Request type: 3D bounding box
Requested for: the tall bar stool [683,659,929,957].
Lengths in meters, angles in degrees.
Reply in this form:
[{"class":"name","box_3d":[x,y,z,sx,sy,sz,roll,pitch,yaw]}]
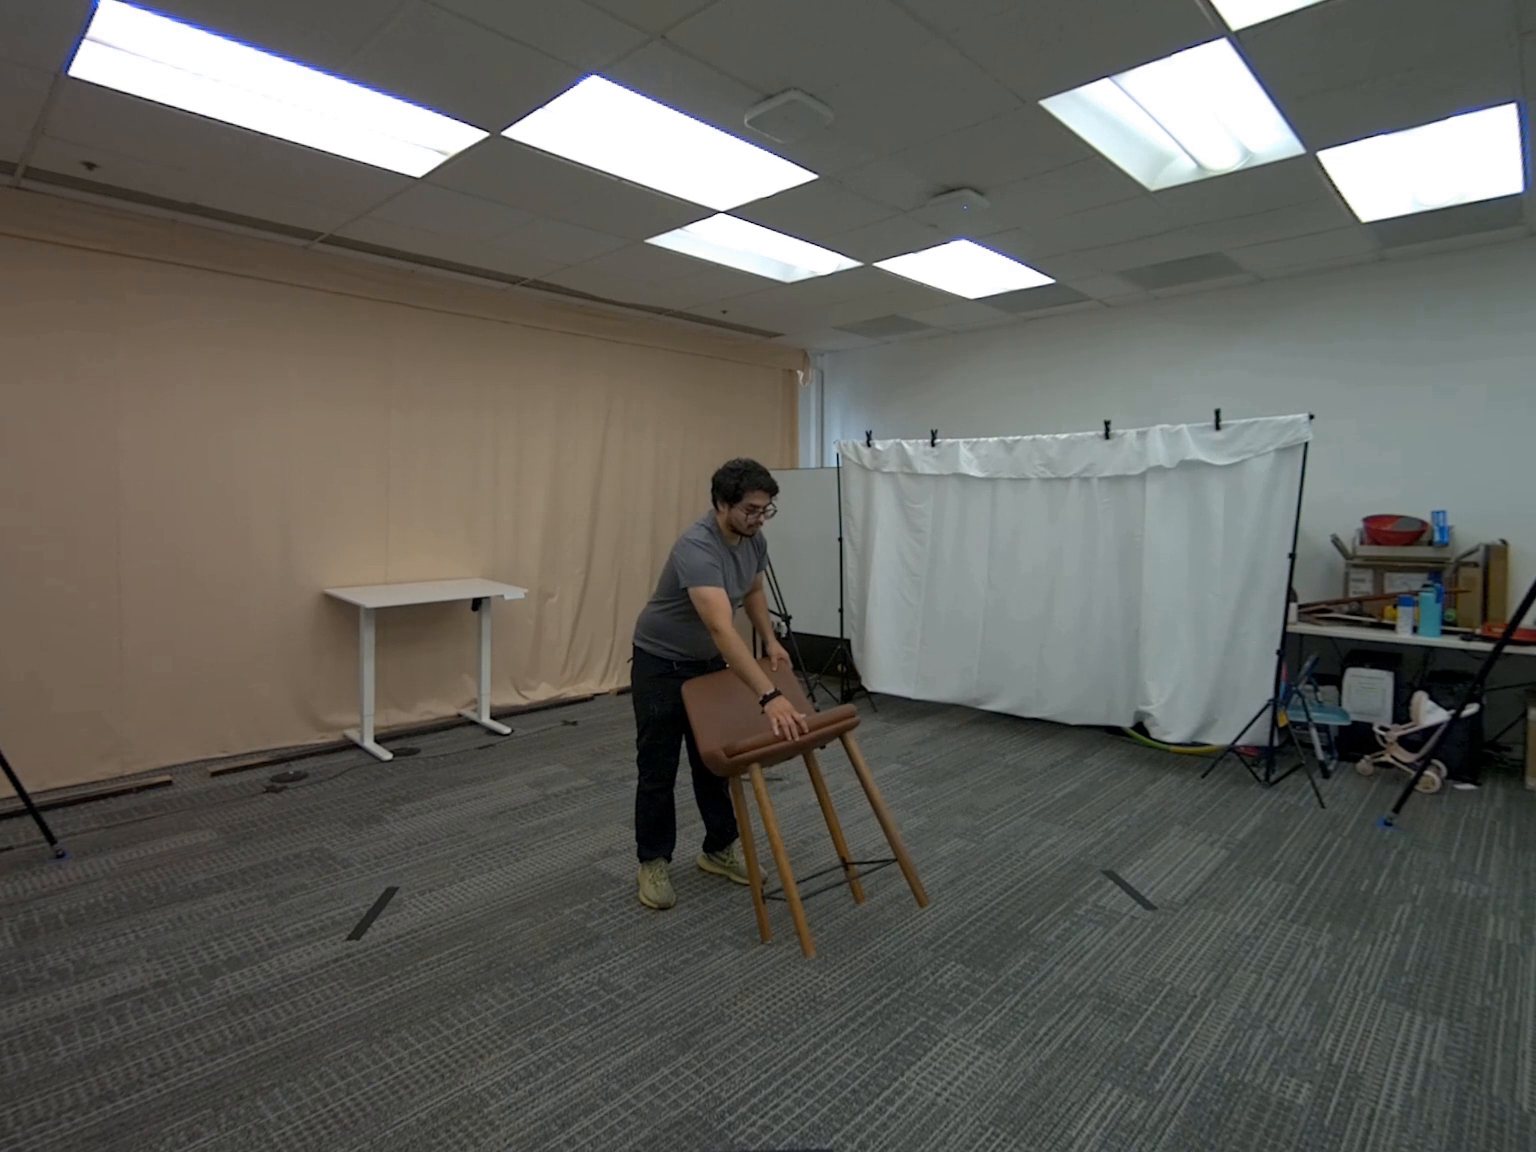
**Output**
[{"class":"tall bar stool","box_3d":[0.083,0.663,2.664,0.448,0.903,0.469,-14,-16,-21]}]
